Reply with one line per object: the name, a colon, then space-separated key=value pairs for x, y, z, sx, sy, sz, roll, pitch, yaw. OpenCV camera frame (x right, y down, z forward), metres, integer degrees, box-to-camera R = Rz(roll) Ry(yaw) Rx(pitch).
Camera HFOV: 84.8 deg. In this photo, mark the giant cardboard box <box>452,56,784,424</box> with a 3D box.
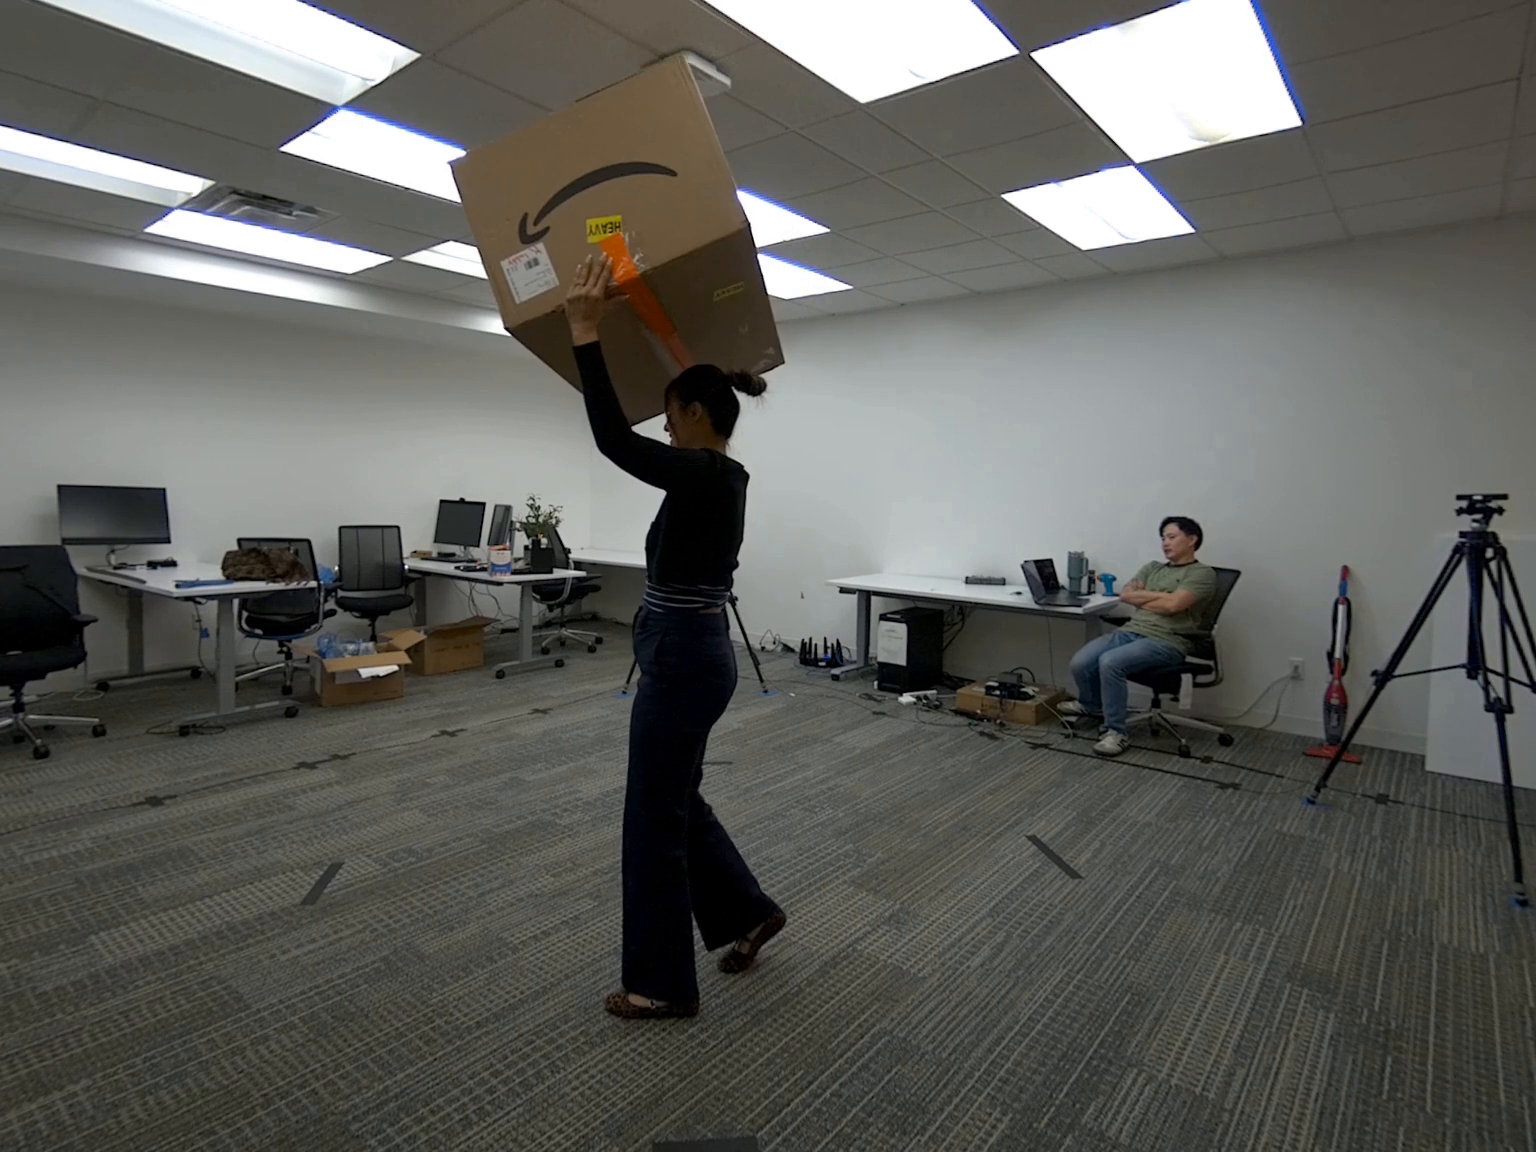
giant cardboard box: x=-0.329 y=-0.798 z=2.323 sx=0.580 sy=0.430 sz=1.013 roll=-21 pitch=-5 yaw=5
